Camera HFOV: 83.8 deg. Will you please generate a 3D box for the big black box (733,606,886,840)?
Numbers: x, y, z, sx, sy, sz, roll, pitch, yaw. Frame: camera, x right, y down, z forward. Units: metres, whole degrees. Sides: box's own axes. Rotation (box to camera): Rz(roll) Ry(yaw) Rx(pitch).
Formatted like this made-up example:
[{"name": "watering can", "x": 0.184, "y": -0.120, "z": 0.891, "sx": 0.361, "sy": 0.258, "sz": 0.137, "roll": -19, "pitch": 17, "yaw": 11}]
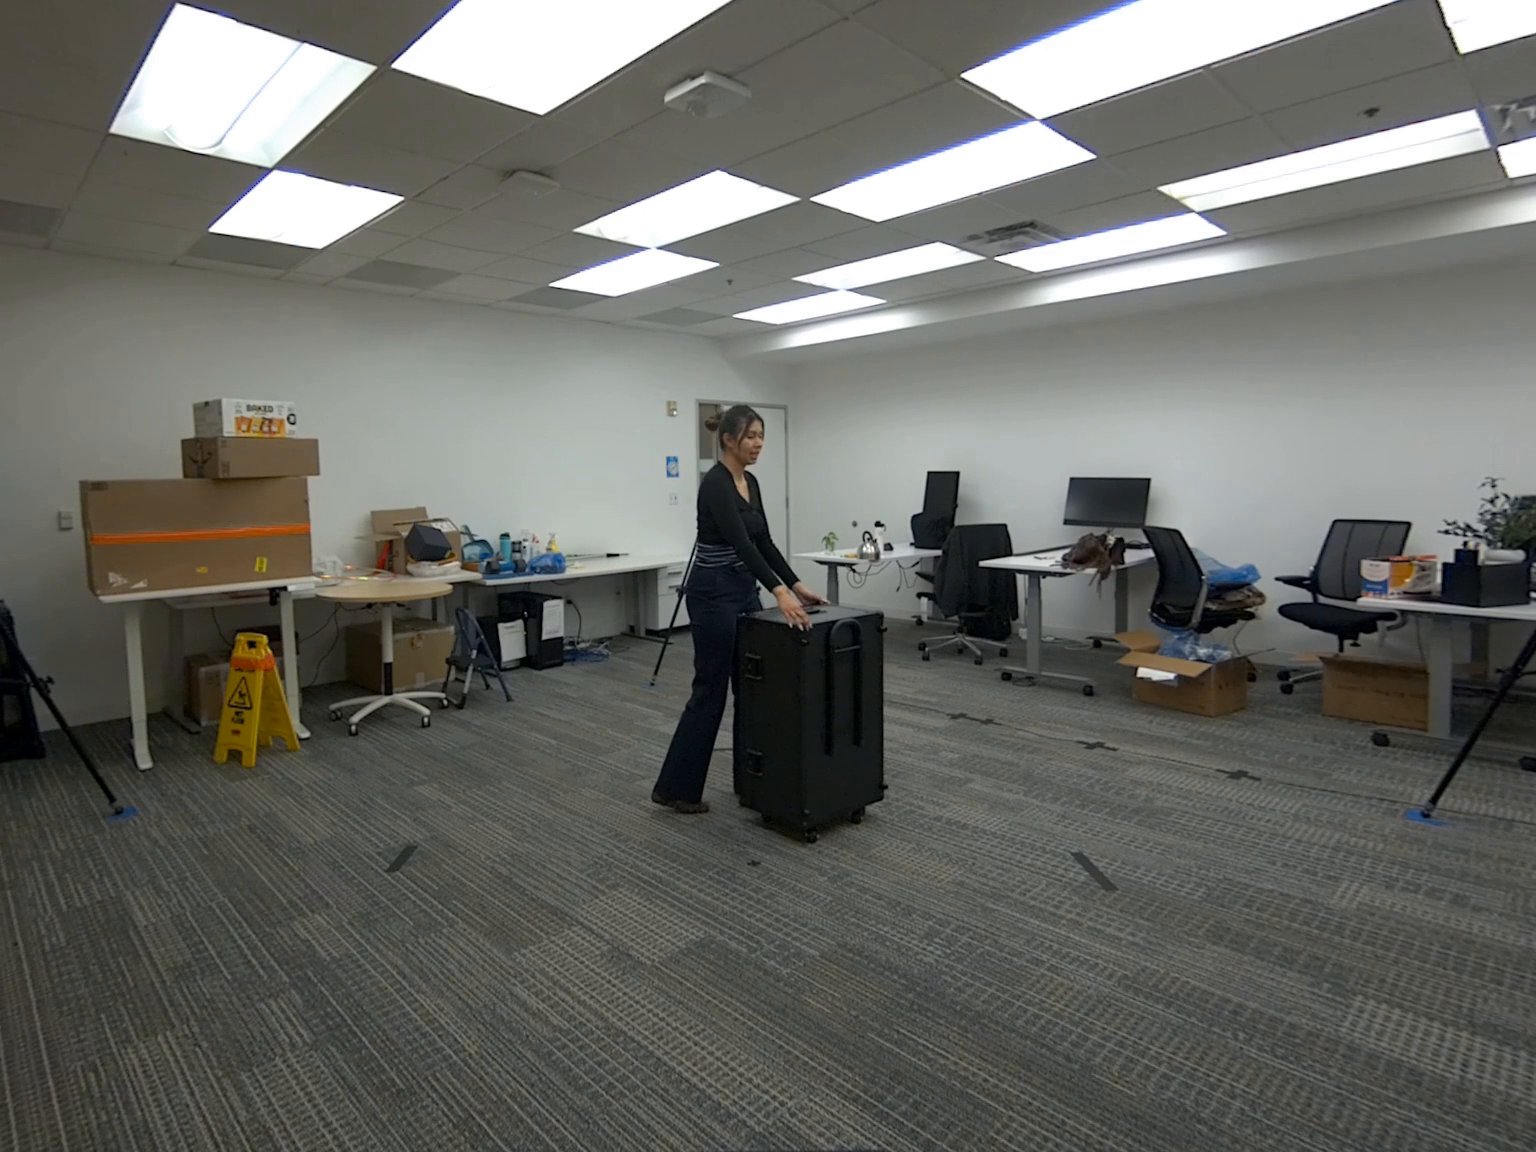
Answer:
[{"name": "big black box", "x": 0.188, "y": 0.577, "z": 3.465, "sx": 0.507, "sy": 0.858, "sz": 0.408, "roll": -4, "pitch": 6, "yaw": -40}]
